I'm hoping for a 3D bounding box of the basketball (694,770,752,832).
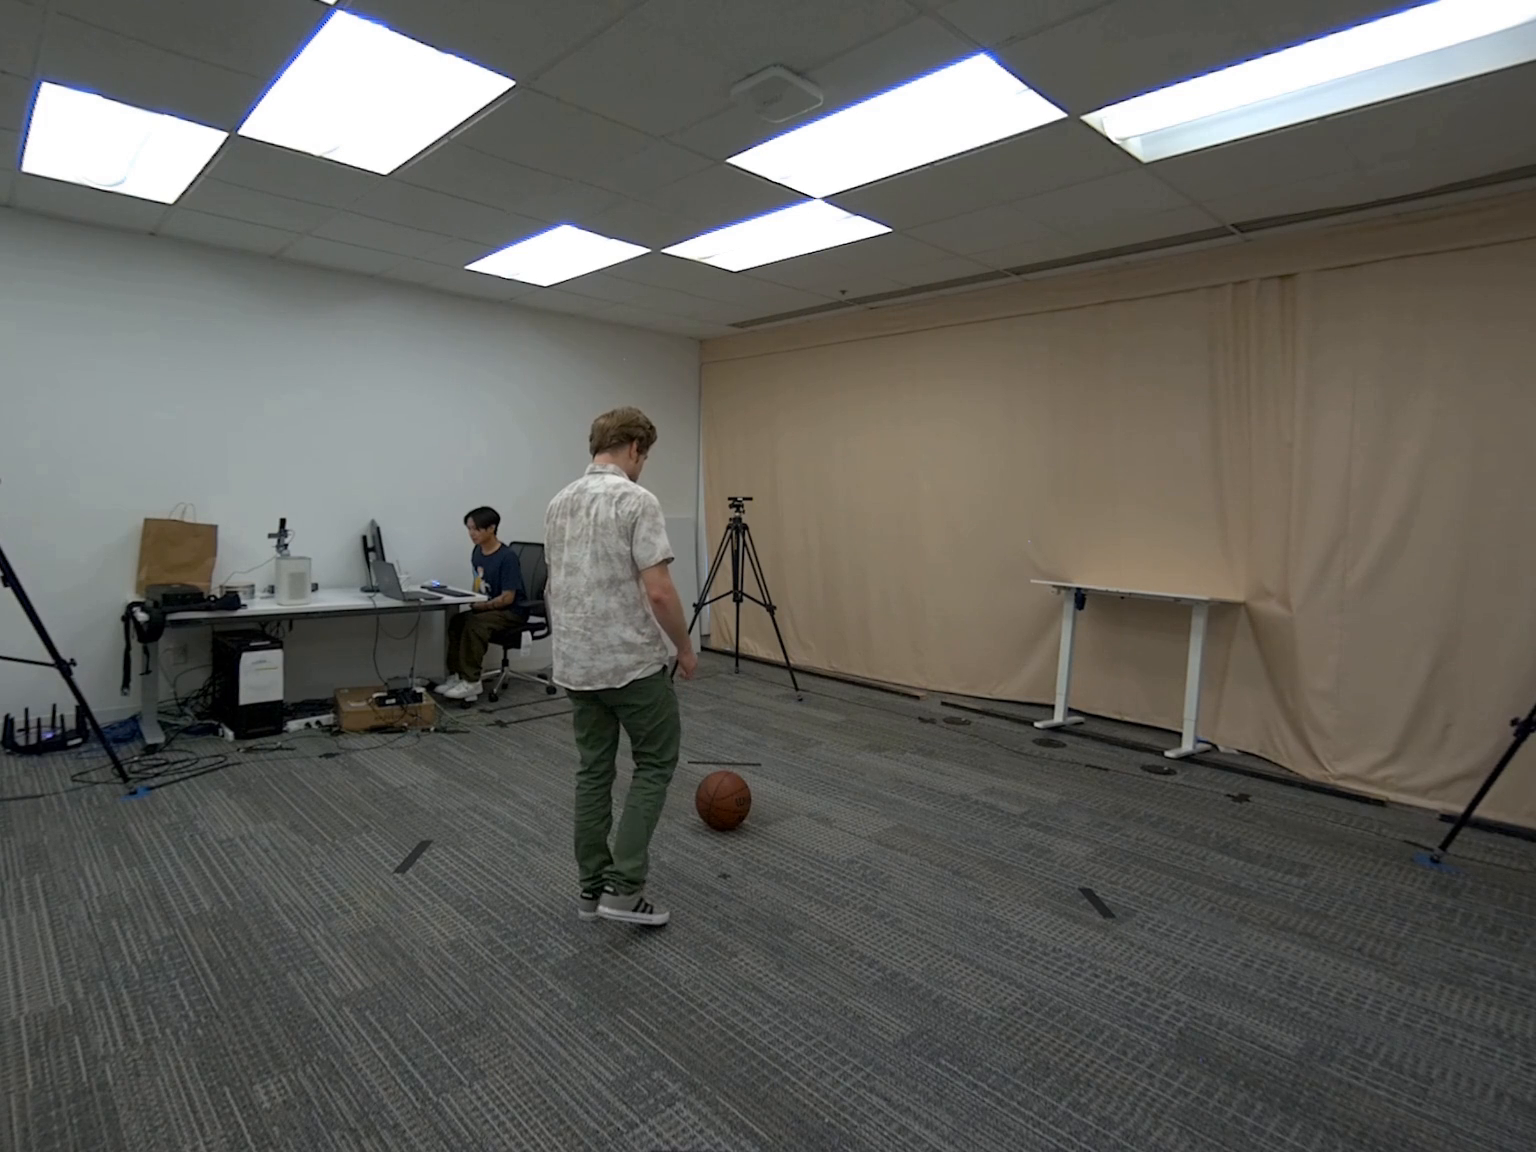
[{"bbox_3d":[-0.198,0.943,3.560,0.236,0.235,0.237,1,4,-1],"label":"basketball"}]
